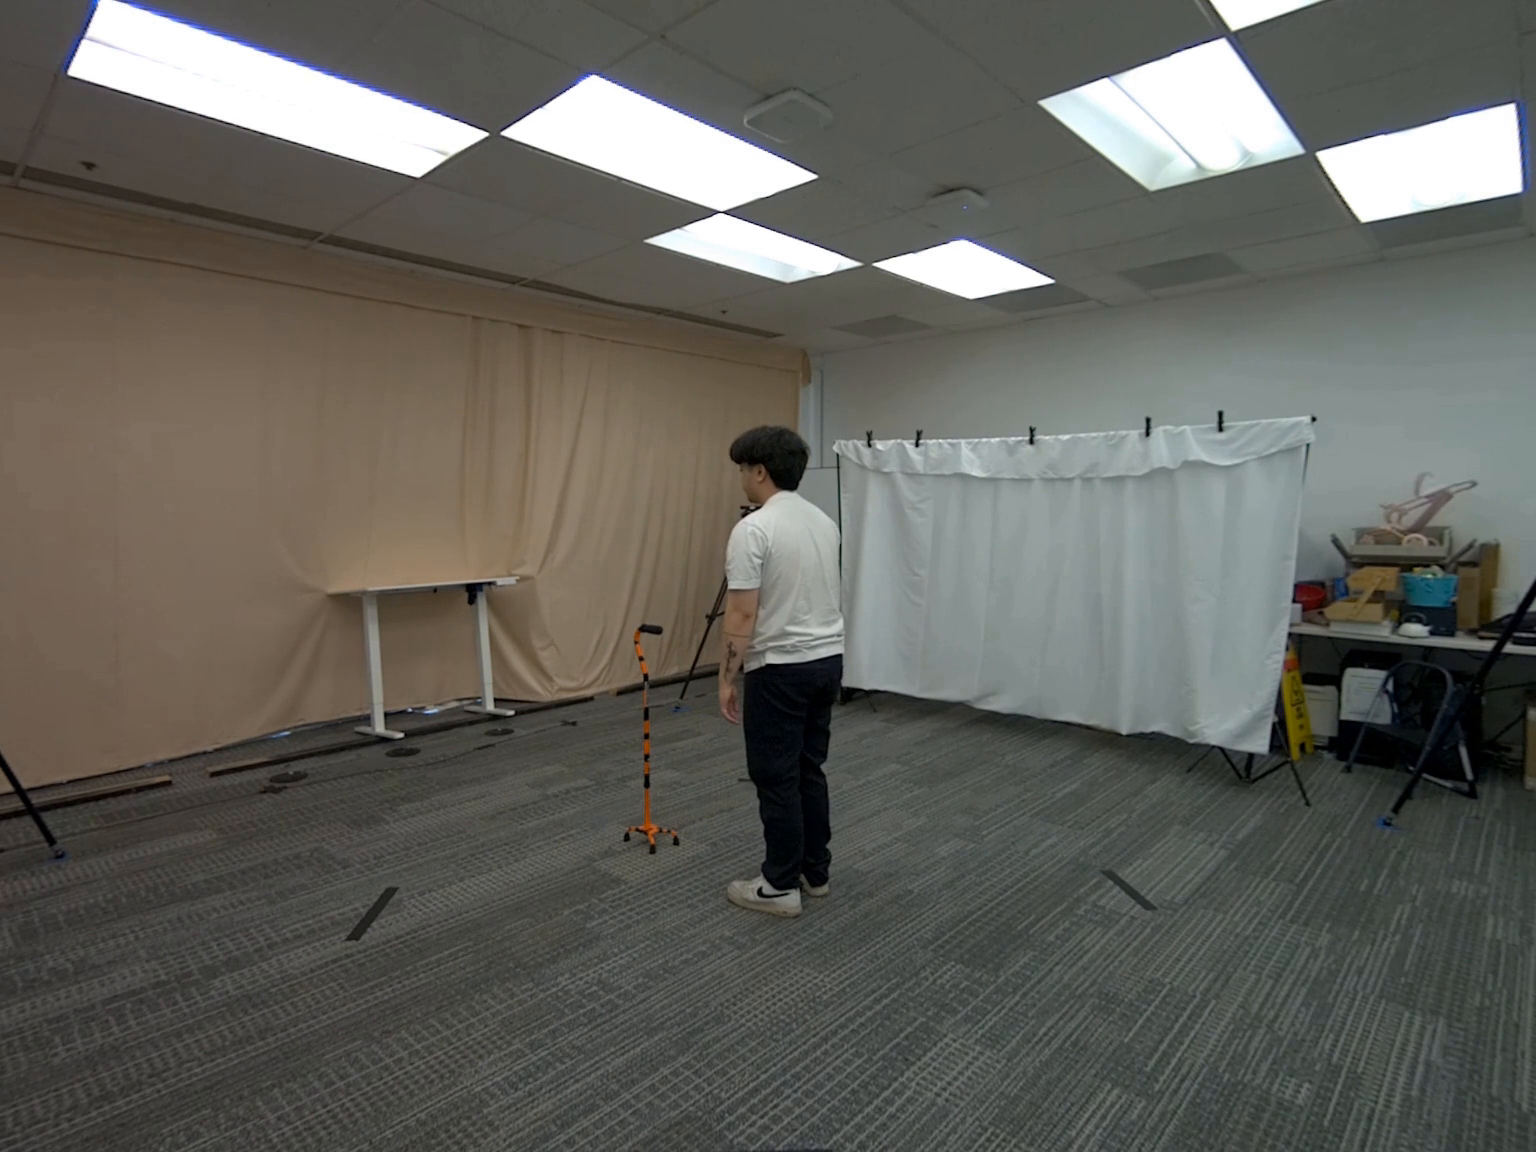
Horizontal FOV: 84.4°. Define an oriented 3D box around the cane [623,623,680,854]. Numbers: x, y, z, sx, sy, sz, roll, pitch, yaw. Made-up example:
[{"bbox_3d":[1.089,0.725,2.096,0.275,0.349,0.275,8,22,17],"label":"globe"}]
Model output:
[{"bbox_3d":[-0.489,0.653,3.471,0.213,0.906,0.147,1,3,45],"label":"cane"}]
